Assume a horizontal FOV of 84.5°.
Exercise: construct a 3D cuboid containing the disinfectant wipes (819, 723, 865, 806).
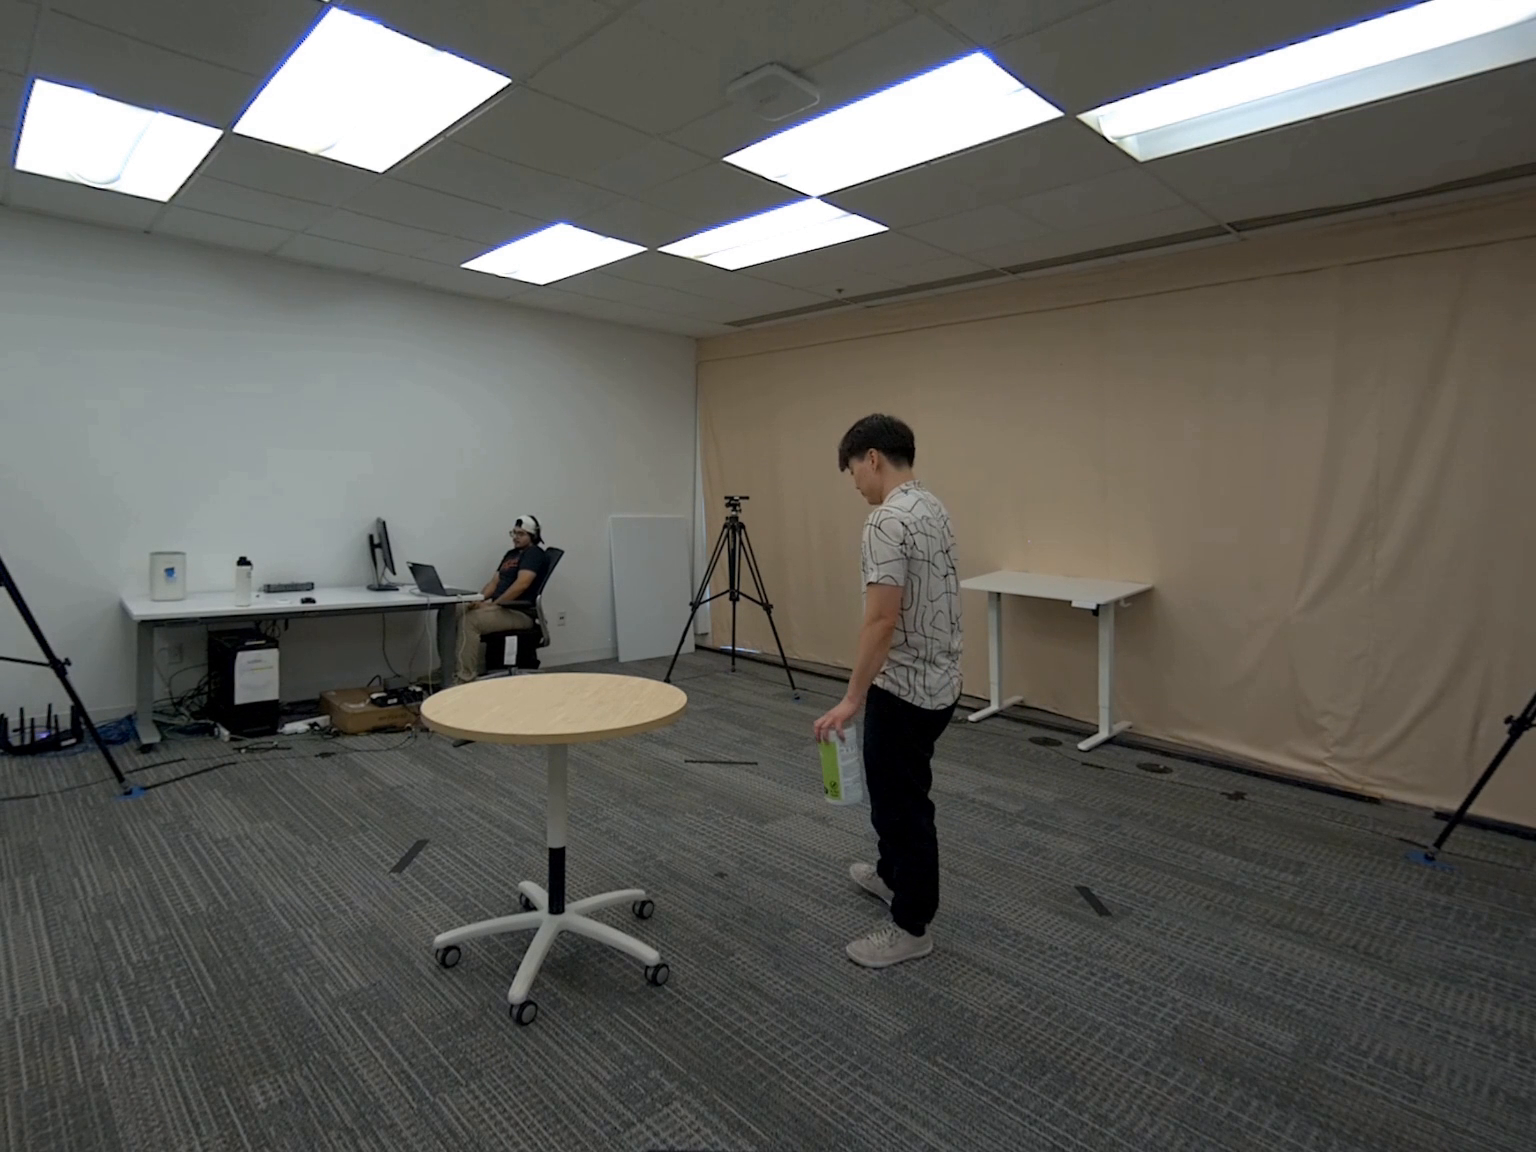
[{"bbox_3d":[0.204,0.528,2.375,0.118,0.217,0.118,-3,3,-1],"label":"disinfectant wipes"}]
